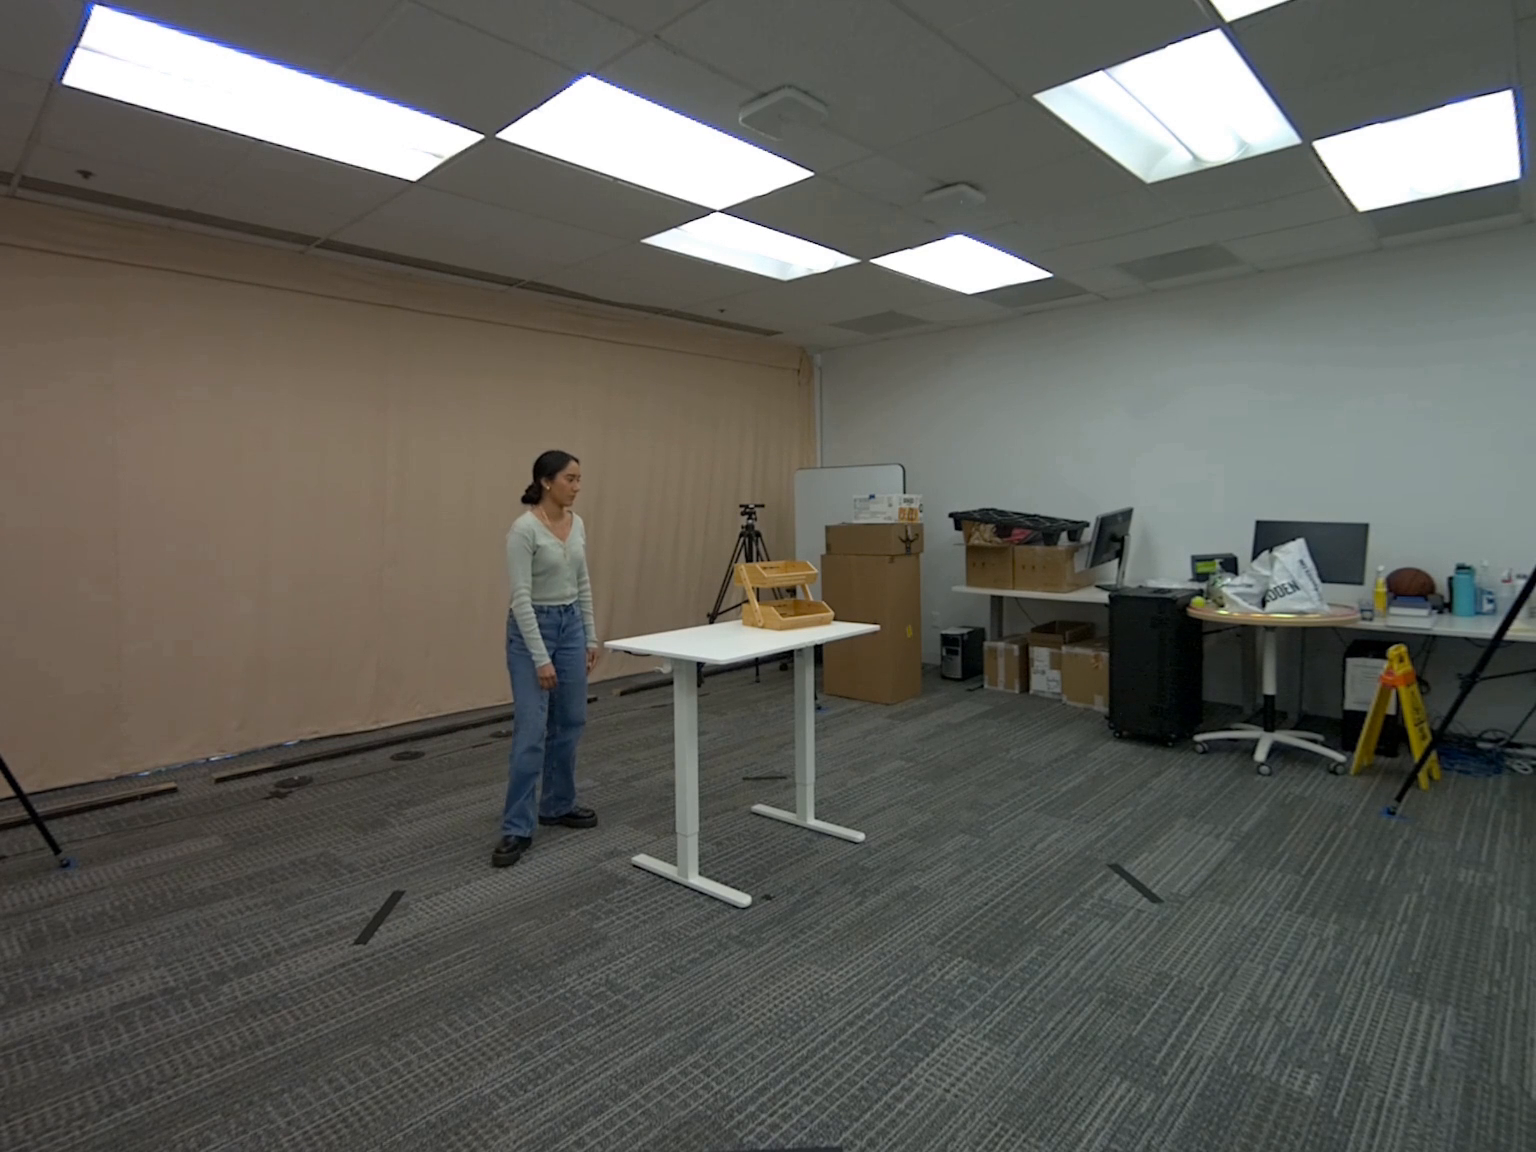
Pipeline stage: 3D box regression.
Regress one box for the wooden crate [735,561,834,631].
[{"bbox_3d":[0.072,0.074,3.583,0.315,0.273,0.311,-3,4,-38],"label":"wooden crate"}]
